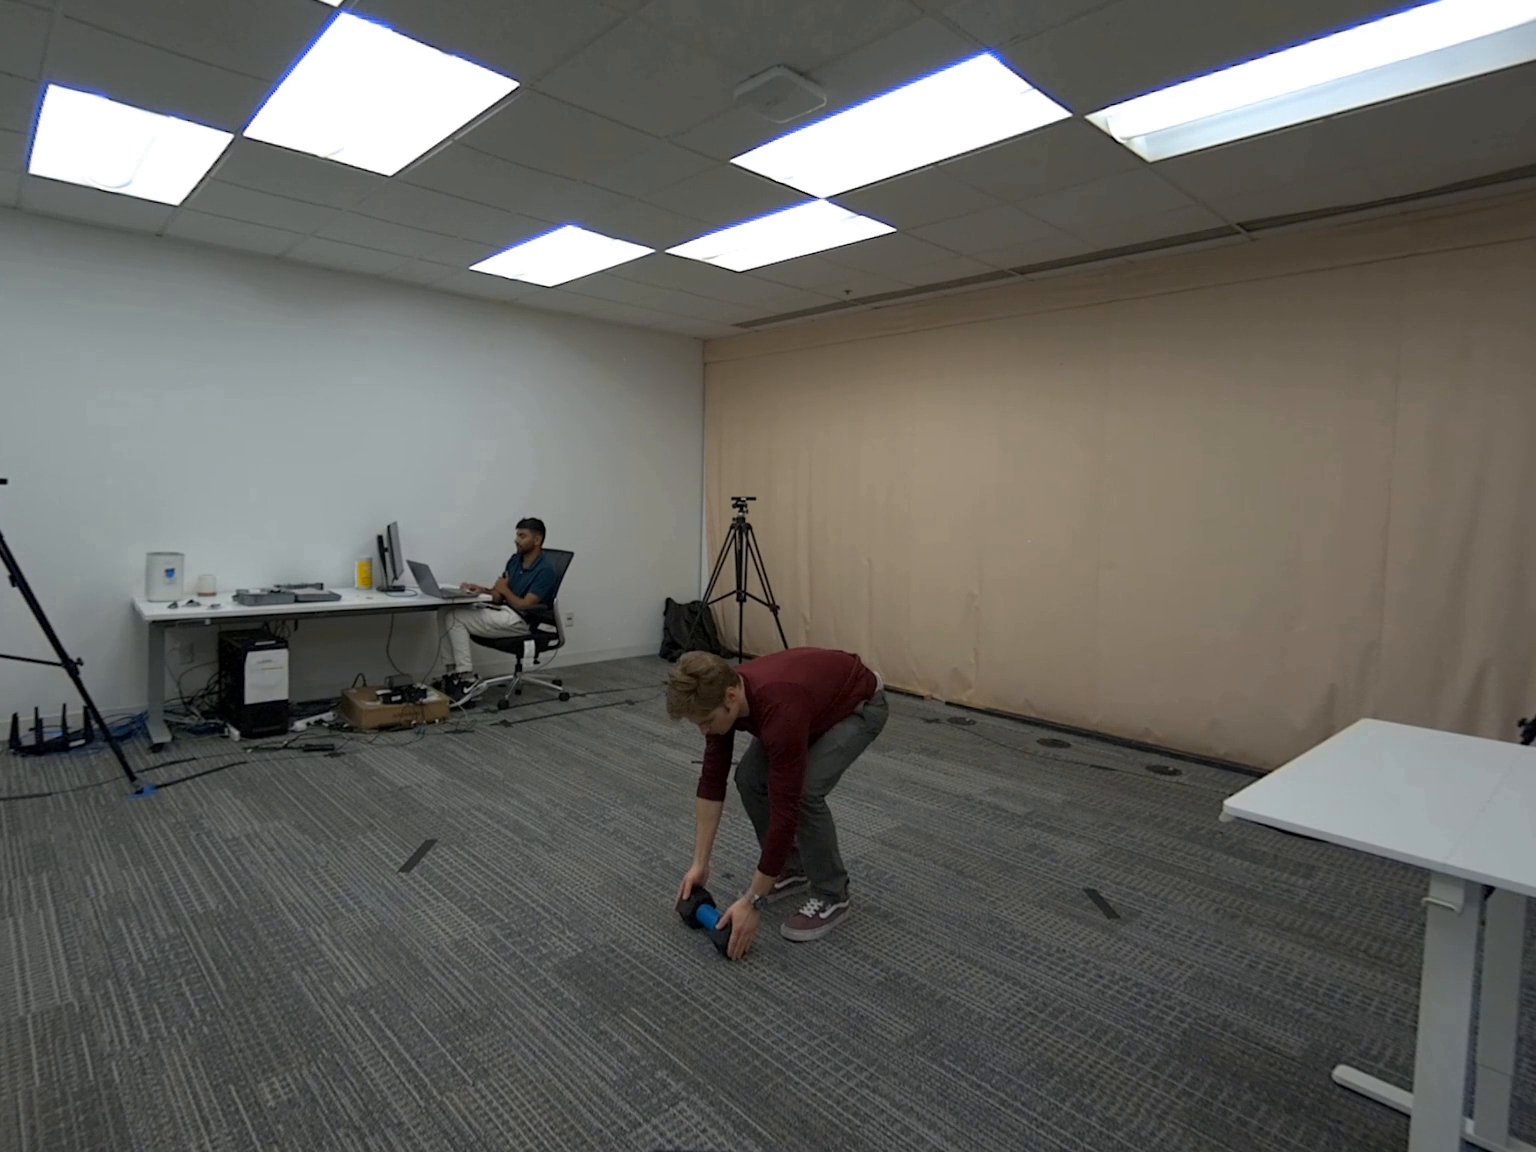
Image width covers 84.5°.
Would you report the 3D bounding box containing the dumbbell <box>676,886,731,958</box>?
[{"bbox_3d":[-0.170,1.092,2.665,0.106,0.123,0.300,31,-9,-30],"label":"dumbbell"}]
